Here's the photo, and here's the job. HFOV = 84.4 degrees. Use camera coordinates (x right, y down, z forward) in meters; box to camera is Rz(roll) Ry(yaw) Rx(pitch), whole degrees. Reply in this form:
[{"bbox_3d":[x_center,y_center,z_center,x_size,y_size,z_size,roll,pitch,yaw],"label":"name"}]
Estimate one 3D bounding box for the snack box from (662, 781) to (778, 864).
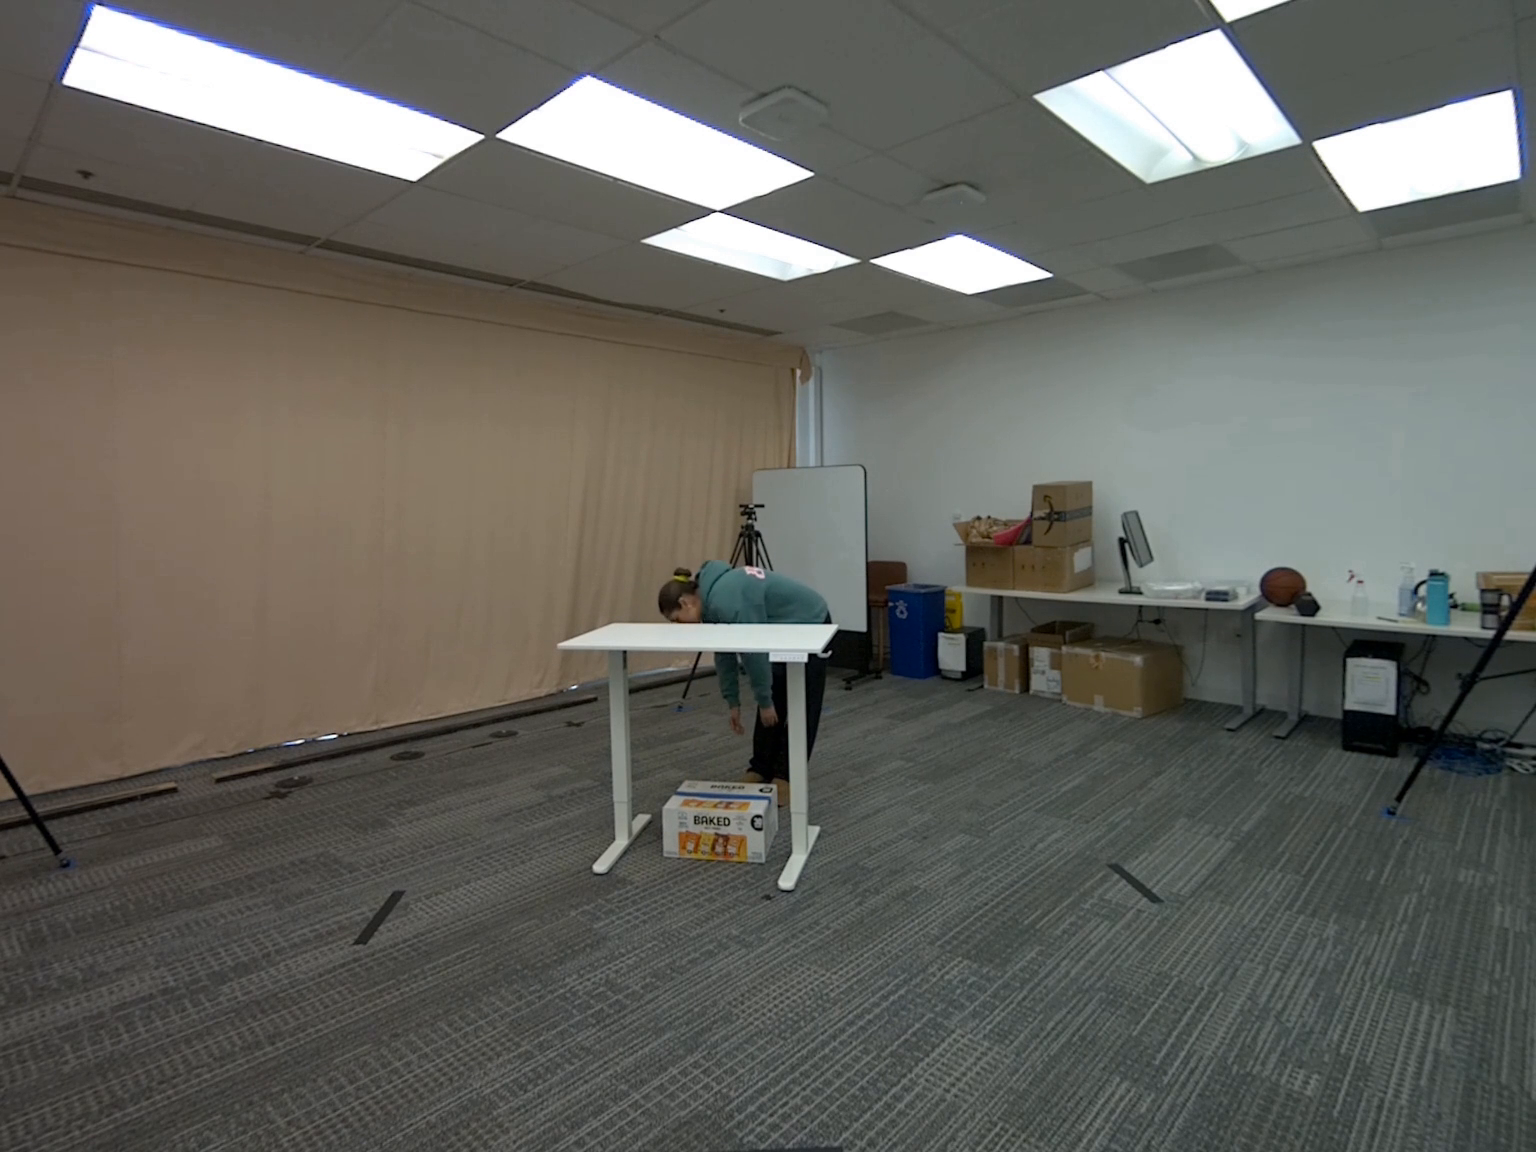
[{"bbox_3d":[-0.187,1.001,3.454,0.410,0.205,0.337,-1,4,11],"label":"snack box"}]
